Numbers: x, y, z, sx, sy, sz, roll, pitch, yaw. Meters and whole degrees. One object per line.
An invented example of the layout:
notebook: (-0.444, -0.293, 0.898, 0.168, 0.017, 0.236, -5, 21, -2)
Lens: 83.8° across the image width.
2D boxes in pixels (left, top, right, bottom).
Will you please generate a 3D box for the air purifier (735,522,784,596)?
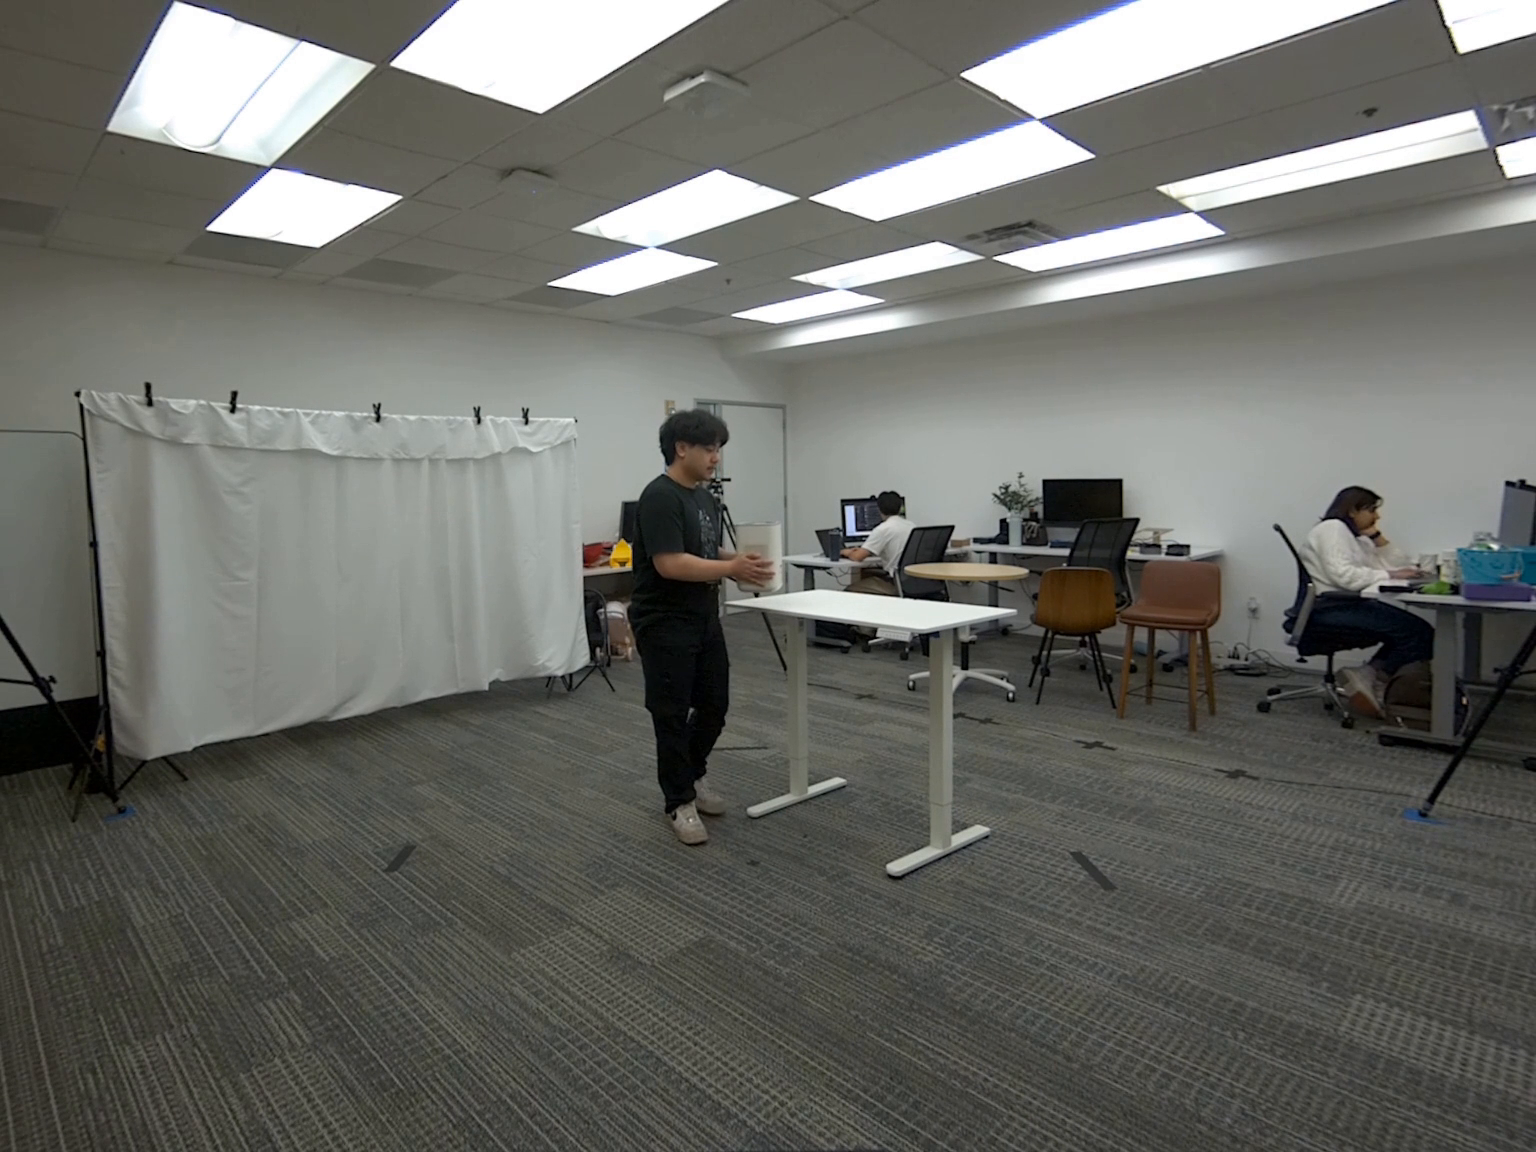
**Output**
air purifier: (-0.038, -0.076, 3.331, 0.173, 0.264, 0.170, -2, 5, 7)
